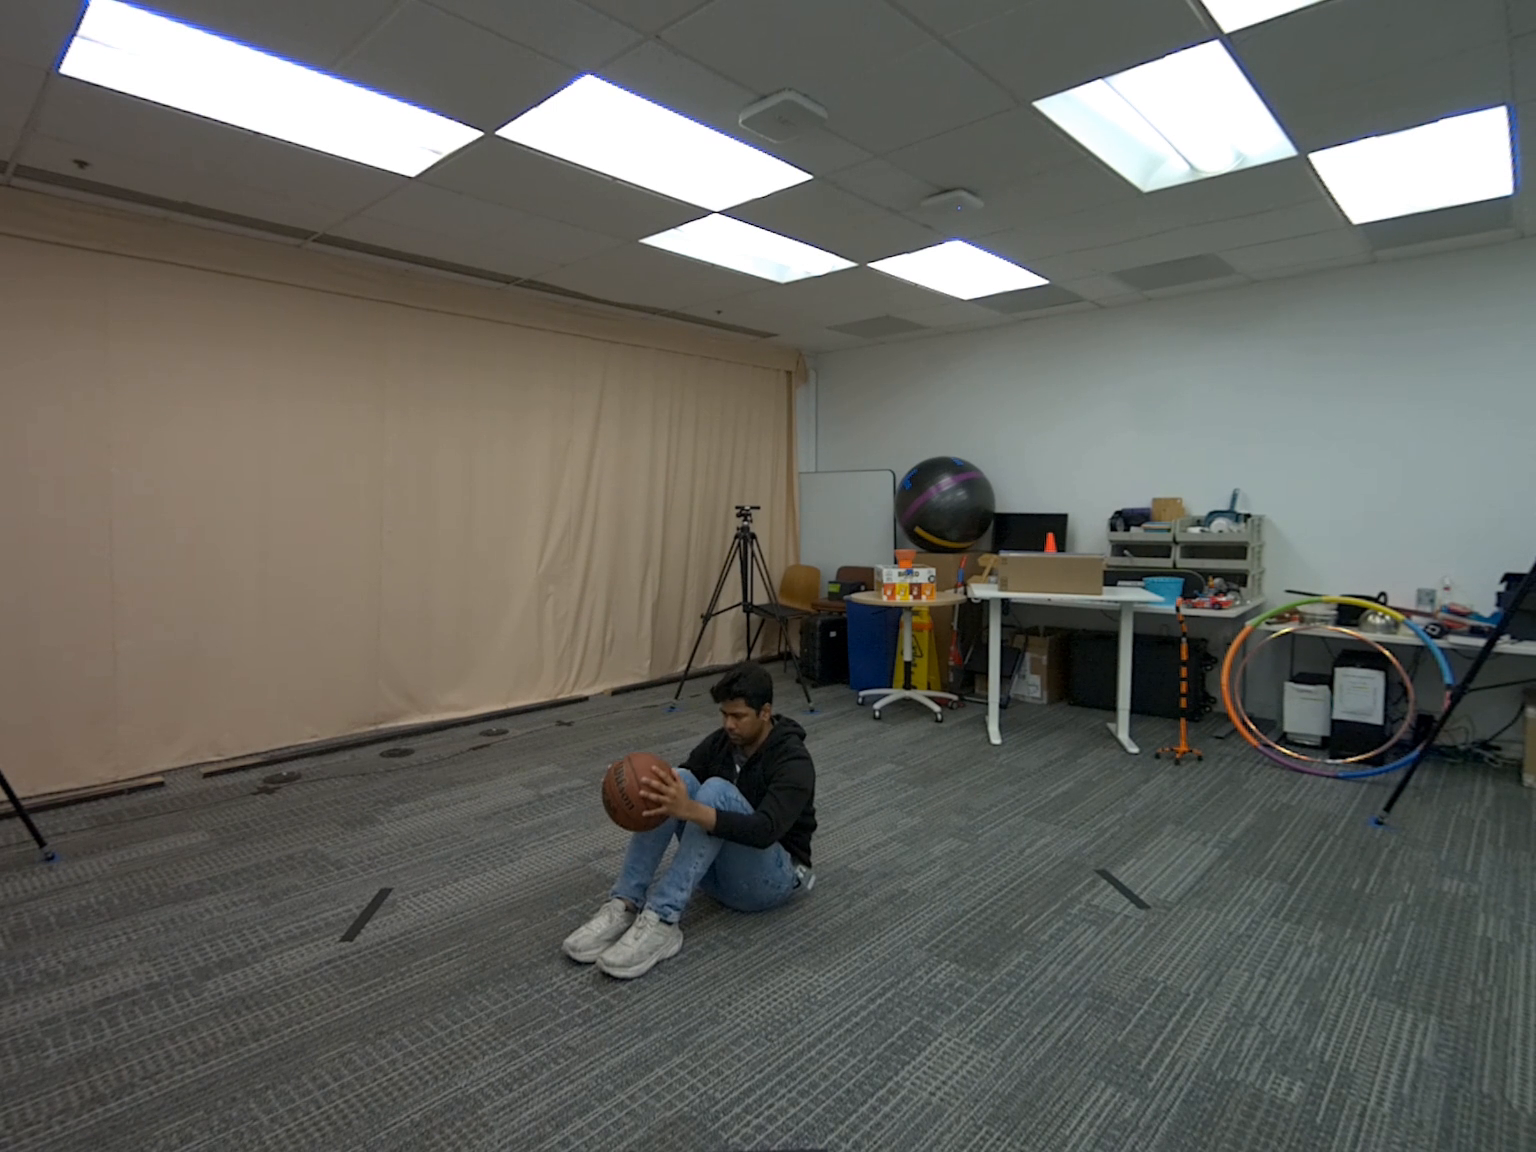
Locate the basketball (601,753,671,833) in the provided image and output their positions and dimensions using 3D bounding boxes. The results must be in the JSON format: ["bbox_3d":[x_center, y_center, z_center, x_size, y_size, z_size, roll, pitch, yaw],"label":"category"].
[{"bbox_3d":[-0.393,0.680,2.639,0.236,0.235,0.237,0,4,-2],"label":"basketball"}]
